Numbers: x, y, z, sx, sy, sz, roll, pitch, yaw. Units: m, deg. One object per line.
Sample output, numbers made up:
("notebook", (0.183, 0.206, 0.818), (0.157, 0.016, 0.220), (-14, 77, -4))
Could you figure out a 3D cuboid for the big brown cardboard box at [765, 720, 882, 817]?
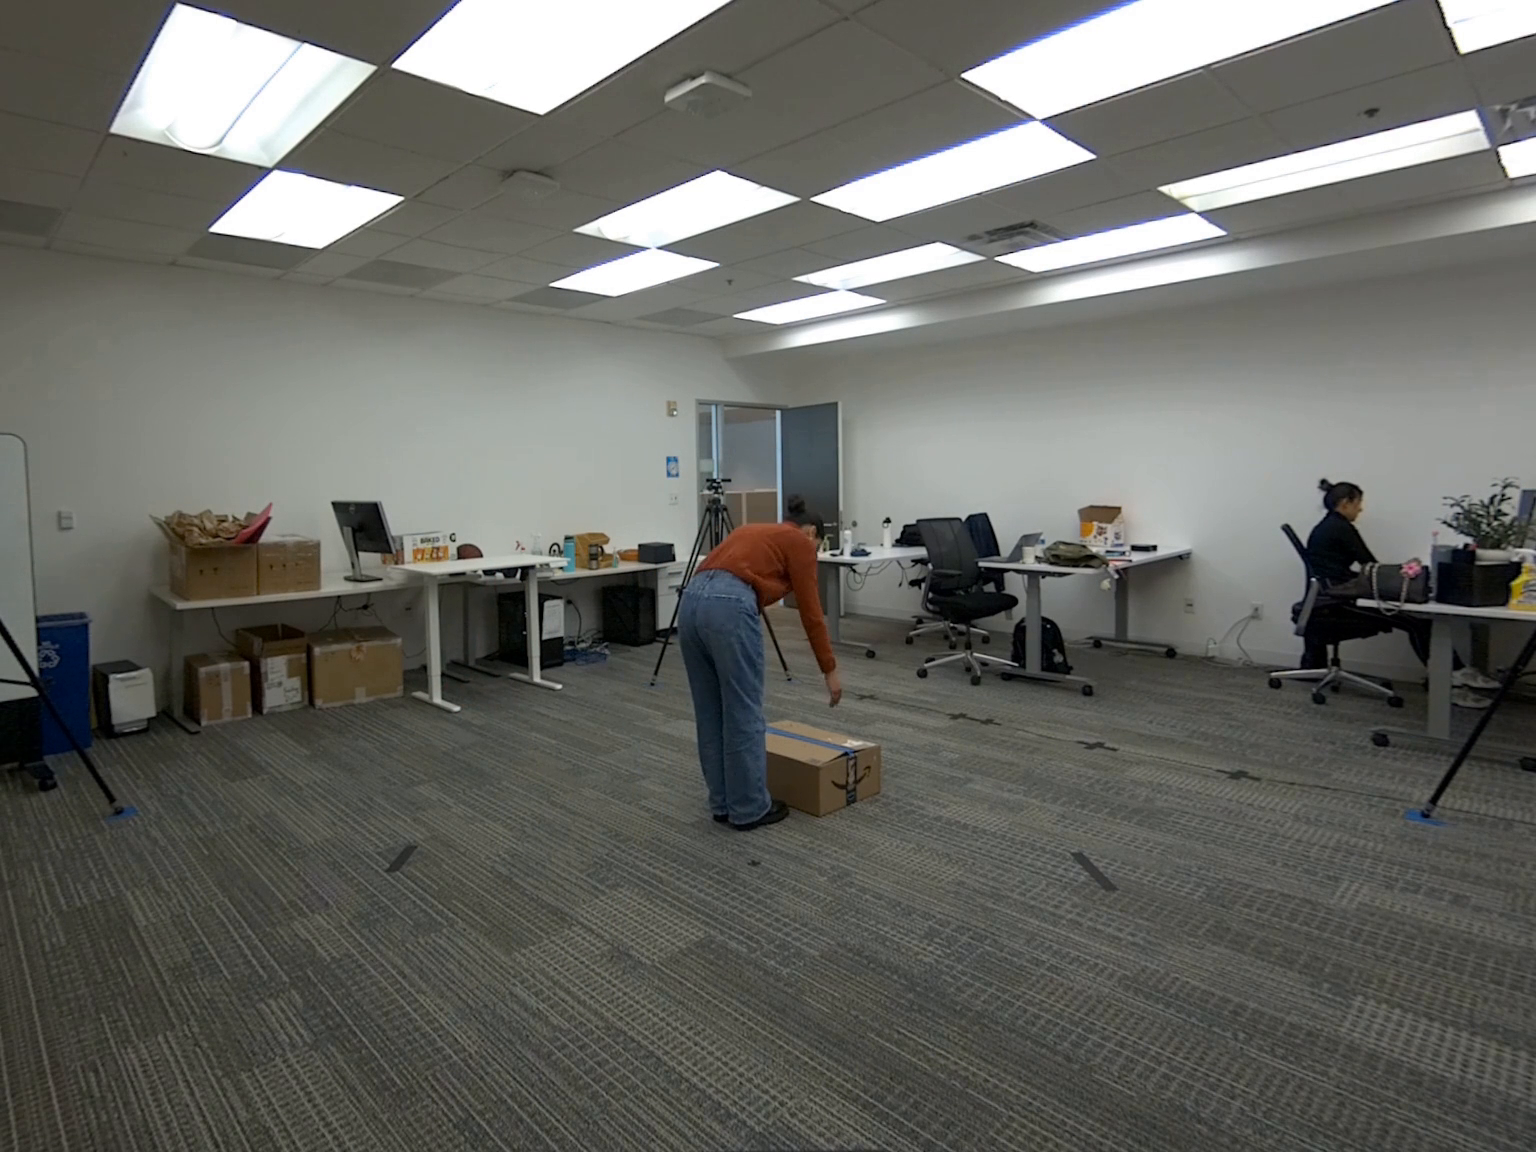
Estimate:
("big brown cardboard box", (0.156, 0.846, 3.844), (0.607, 0.232, 0.406), (4, 8, 45))
